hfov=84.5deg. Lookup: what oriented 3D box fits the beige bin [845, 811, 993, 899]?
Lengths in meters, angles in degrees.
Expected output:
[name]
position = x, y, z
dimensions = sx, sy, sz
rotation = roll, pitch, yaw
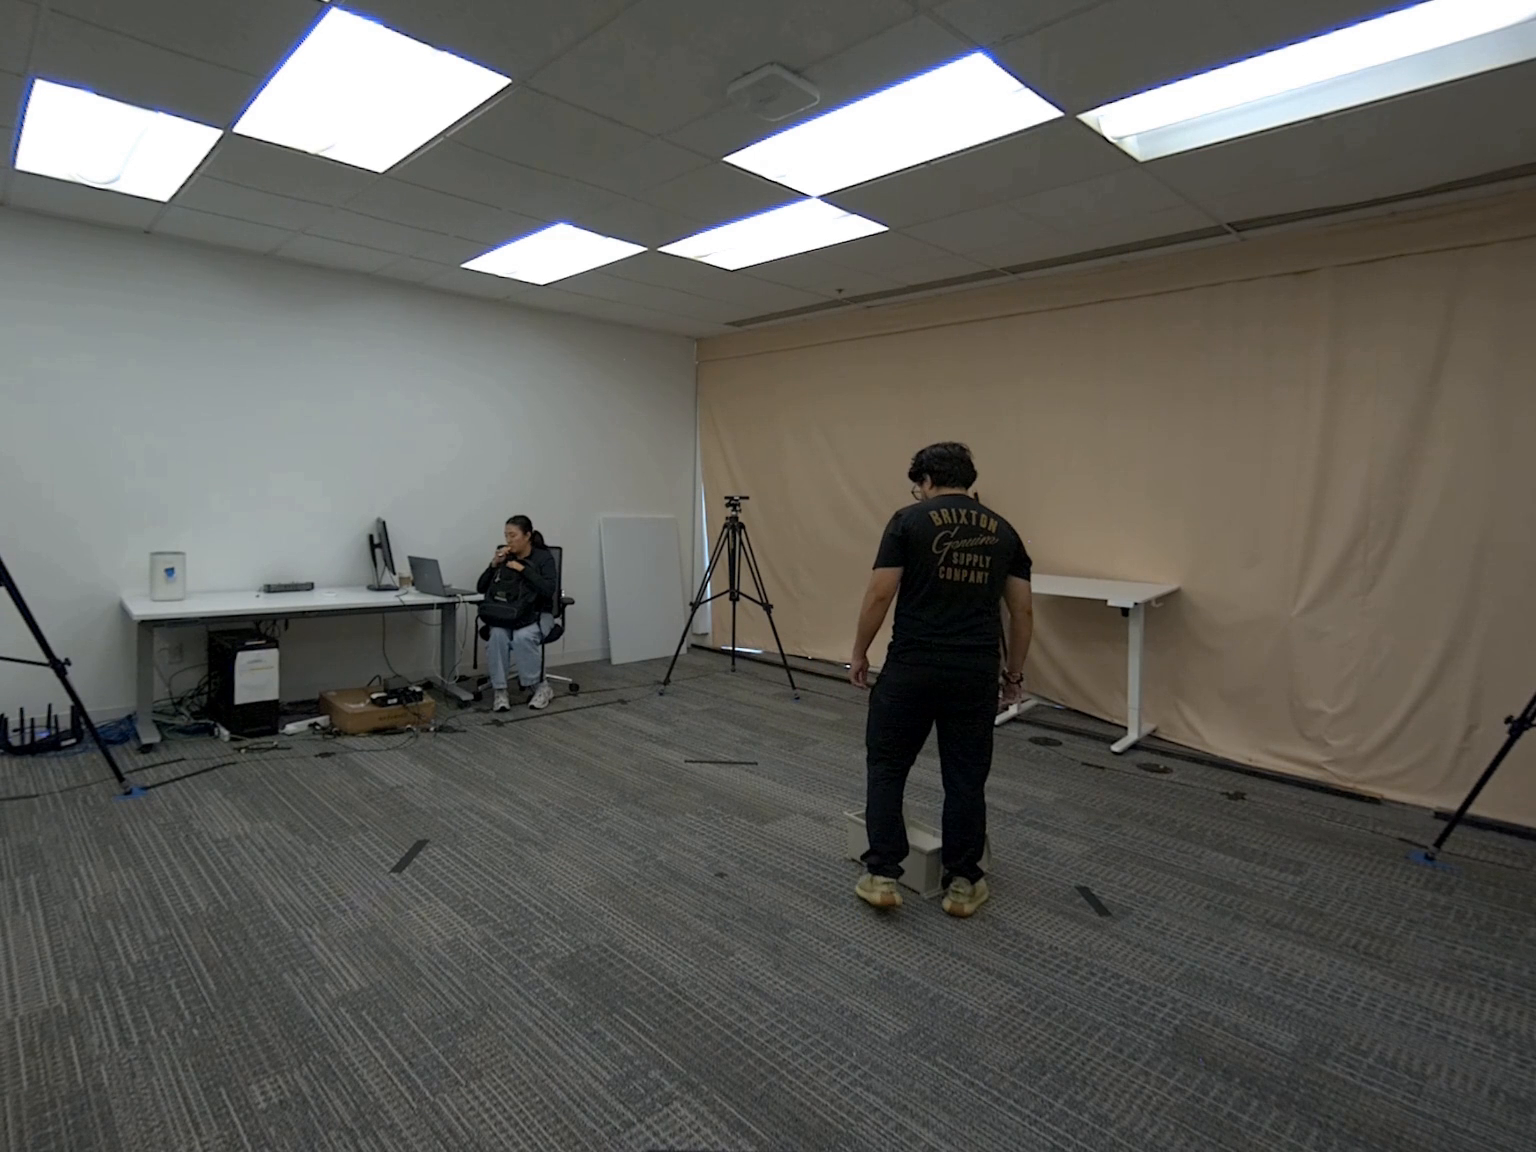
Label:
[beige bin]
position = 0.564, 1.024, 3.216
dimensions = 0.369, 0.188, 0.433
rotation = -3, 7, -38
